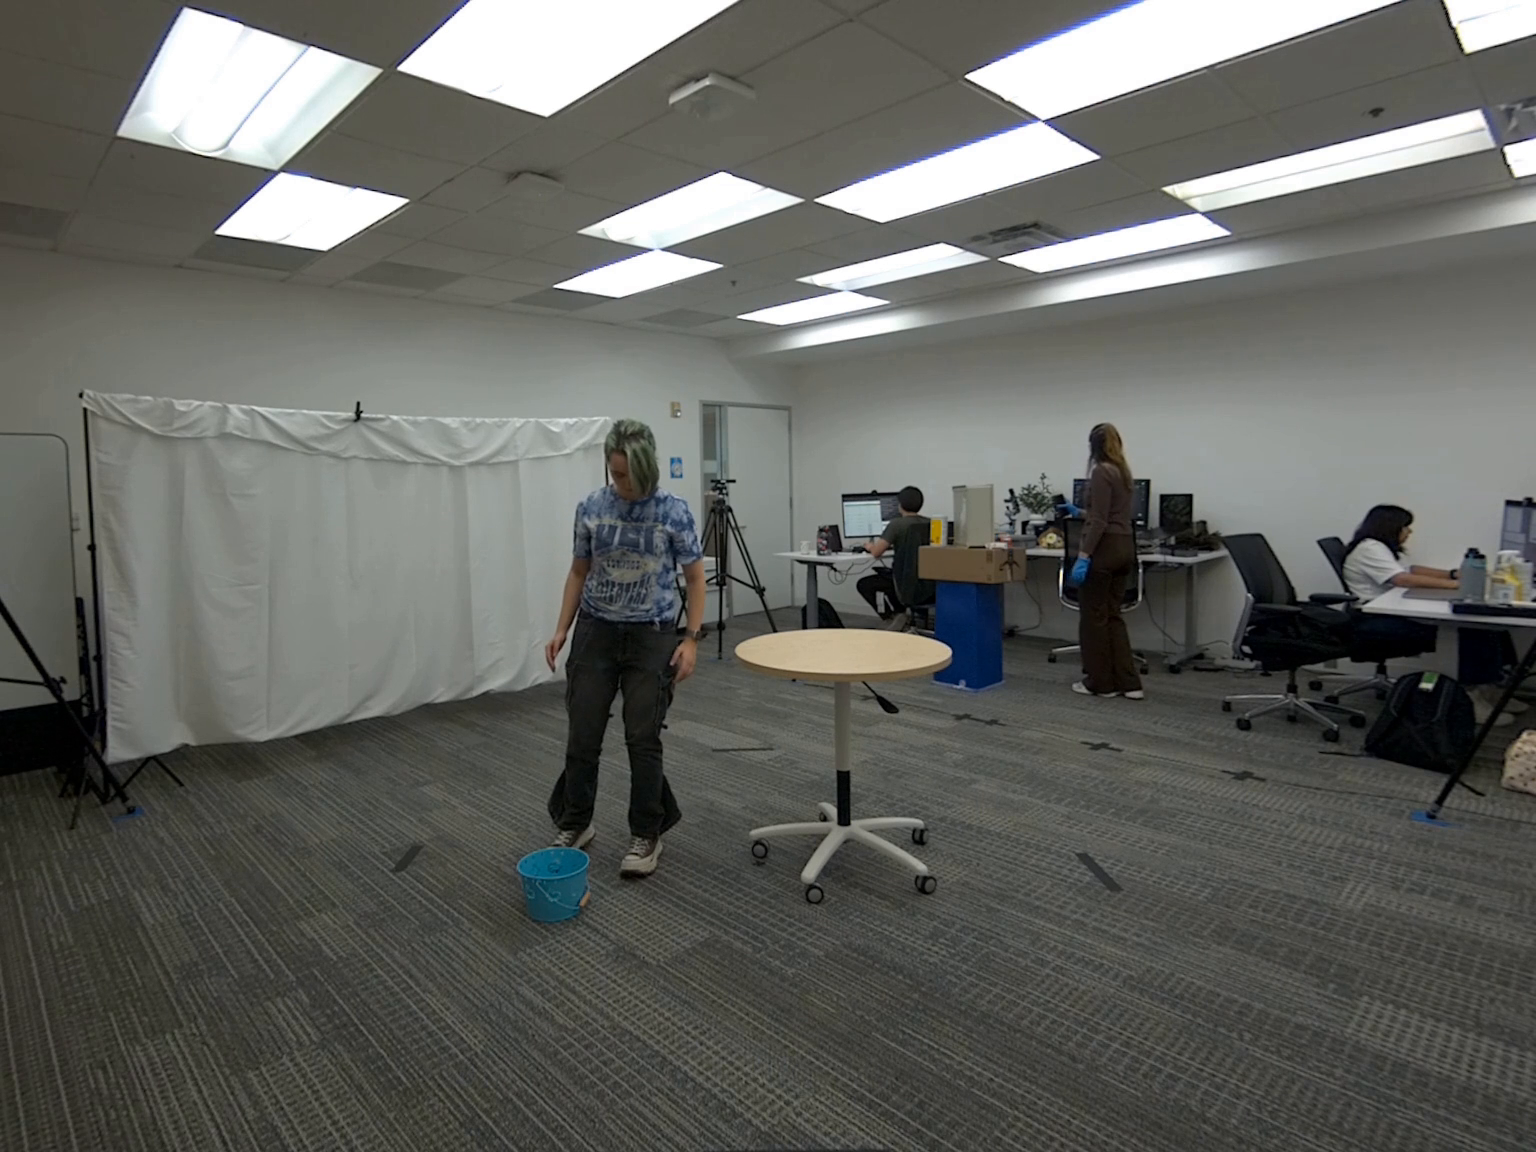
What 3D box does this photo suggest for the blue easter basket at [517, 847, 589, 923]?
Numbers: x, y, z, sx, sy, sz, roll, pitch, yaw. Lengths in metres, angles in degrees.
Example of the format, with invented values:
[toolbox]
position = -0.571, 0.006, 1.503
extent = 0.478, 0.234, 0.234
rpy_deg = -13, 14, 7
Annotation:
[blue easter basket]
position = -0.698, 1.019, 2.804
extent = 0.243, 0.155, 0.245
rpy_deg = -2, 6, -2
